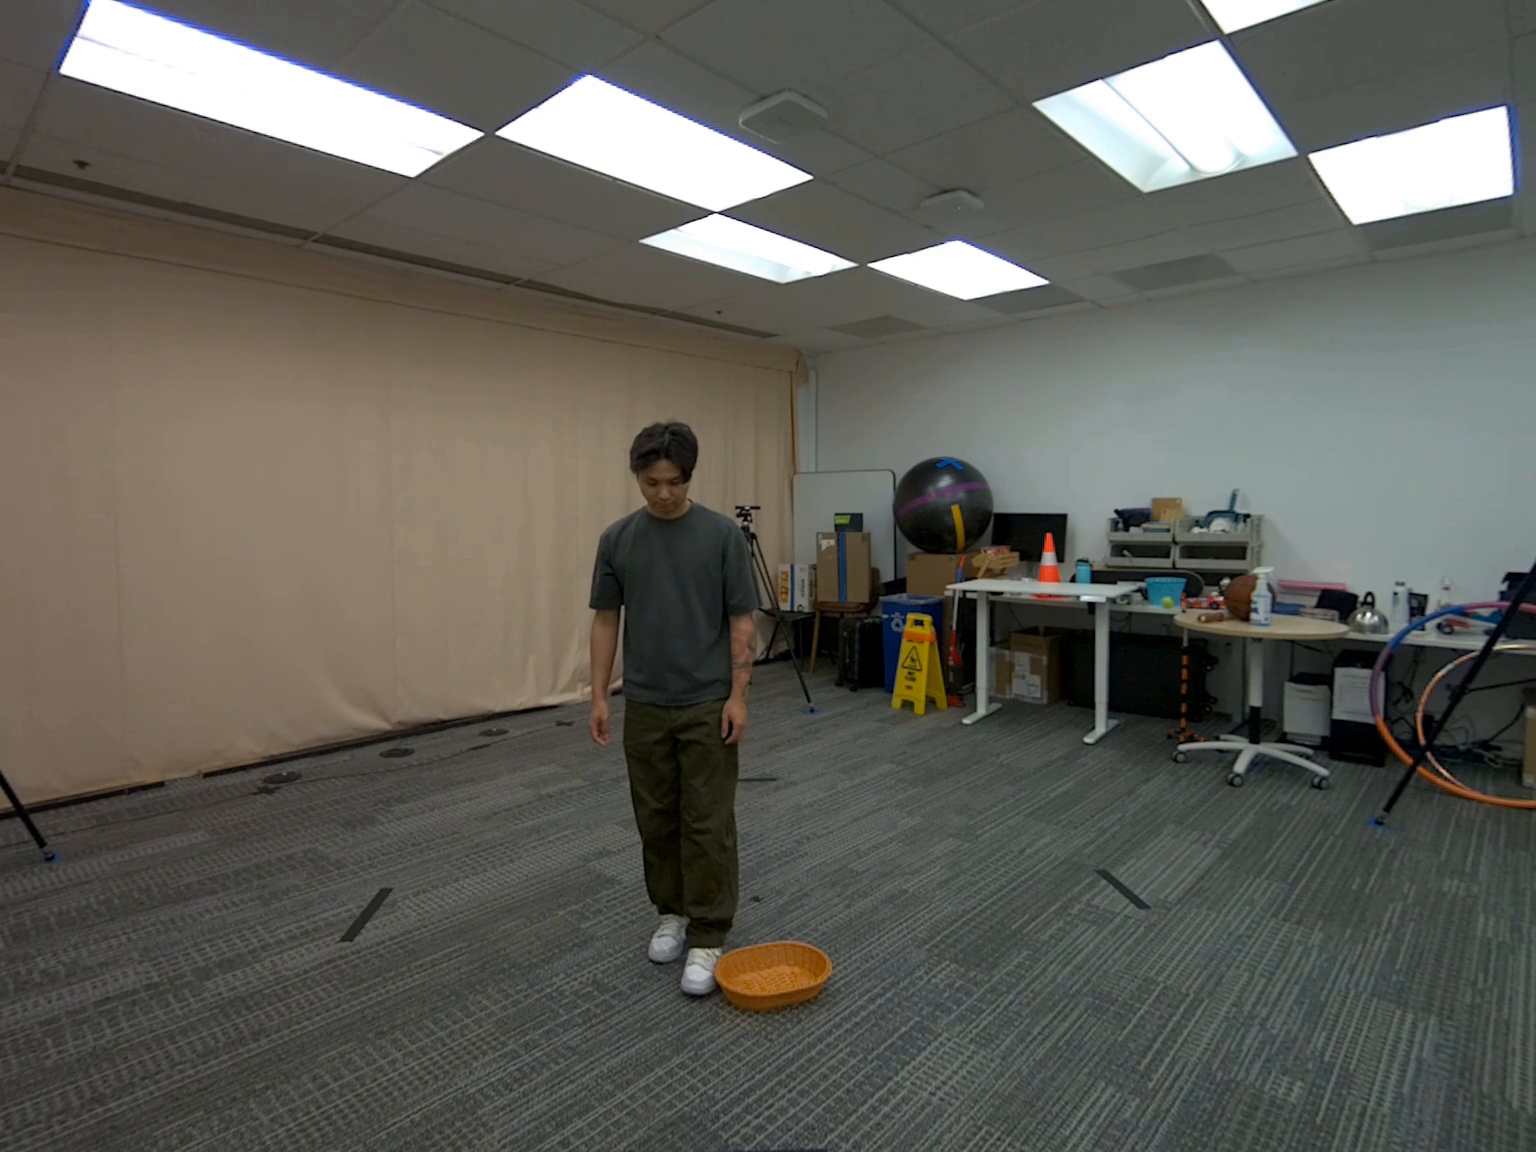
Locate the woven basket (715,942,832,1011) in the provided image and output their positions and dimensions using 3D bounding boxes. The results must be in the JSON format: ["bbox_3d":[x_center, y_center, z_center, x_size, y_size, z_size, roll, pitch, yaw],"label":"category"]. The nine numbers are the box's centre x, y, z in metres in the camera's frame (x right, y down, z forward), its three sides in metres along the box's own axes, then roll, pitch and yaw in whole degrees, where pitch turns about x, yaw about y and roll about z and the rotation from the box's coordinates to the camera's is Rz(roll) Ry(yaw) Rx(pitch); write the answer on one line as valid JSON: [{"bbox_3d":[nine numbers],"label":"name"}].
[{"bbox_3d":[0.019,1.152,2.419,0.344,0.073,0.258,-1,5,-19],"label":"woven basket"}]
